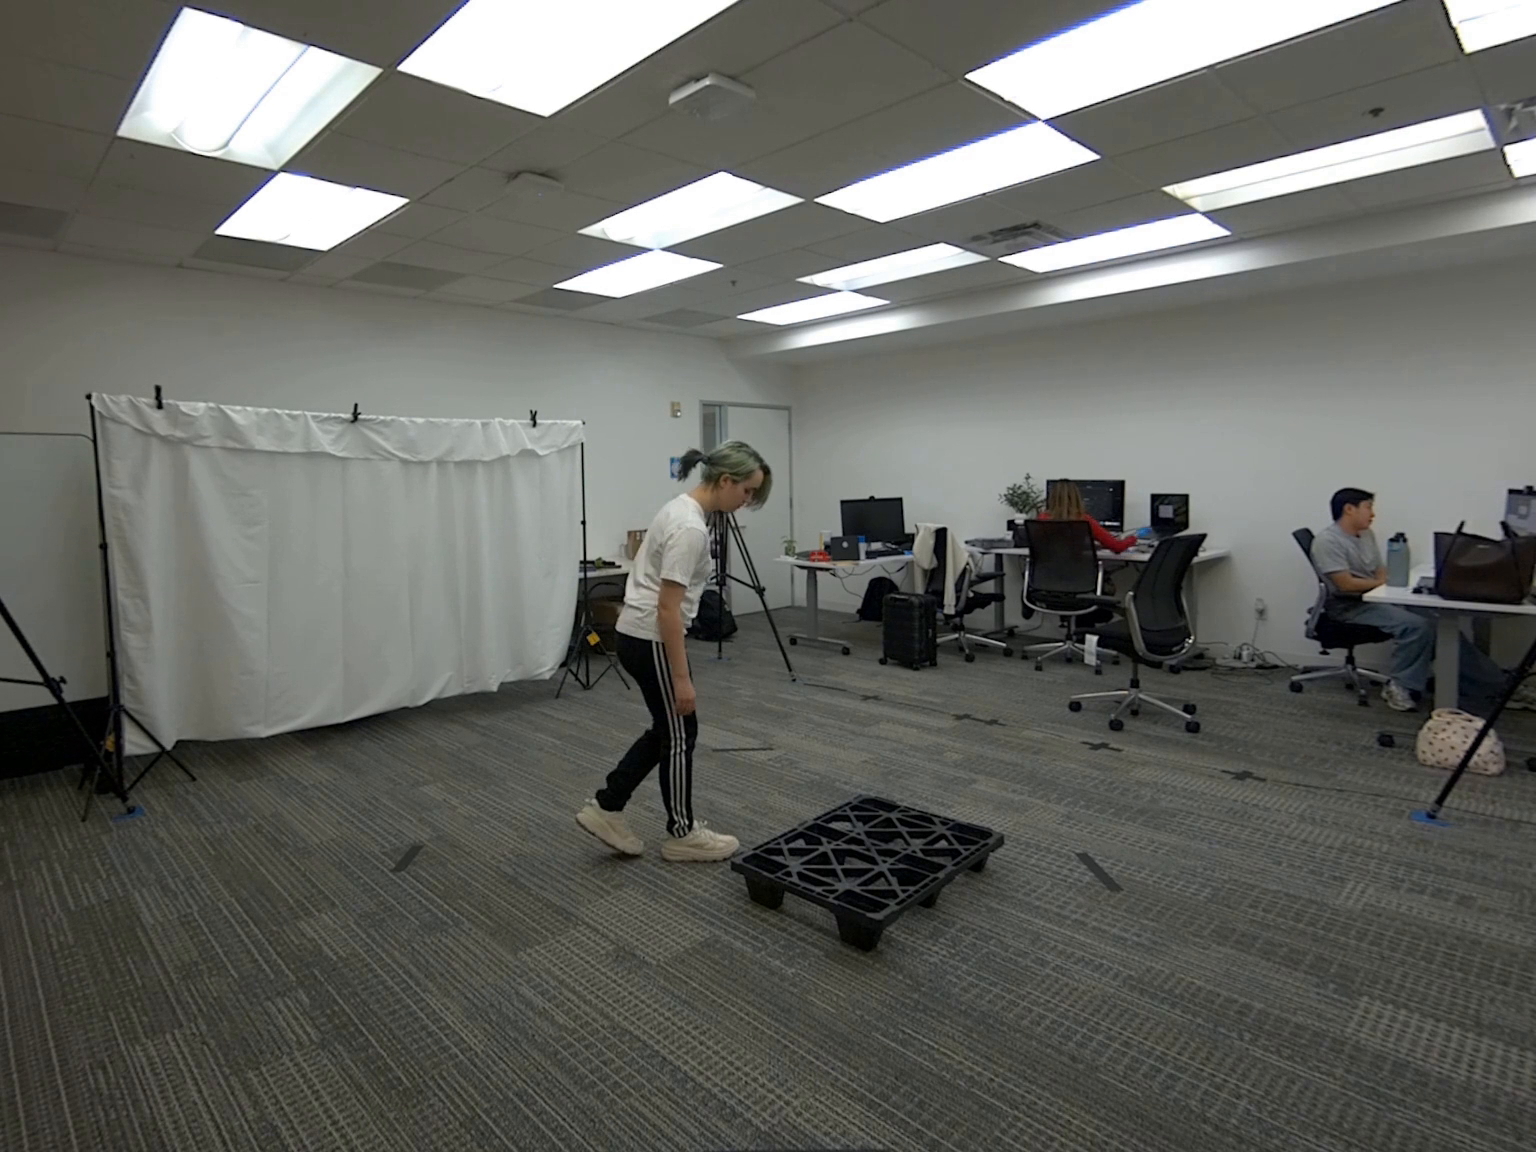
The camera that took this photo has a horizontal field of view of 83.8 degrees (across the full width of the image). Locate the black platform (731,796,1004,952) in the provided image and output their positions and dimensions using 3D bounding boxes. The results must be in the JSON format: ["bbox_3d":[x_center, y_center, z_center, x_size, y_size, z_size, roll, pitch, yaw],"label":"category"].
[{"bbox_3d":[0.351,0.994,2.932,0.623,0.143,0.785,4,8,42],"label":"black platform"}]
